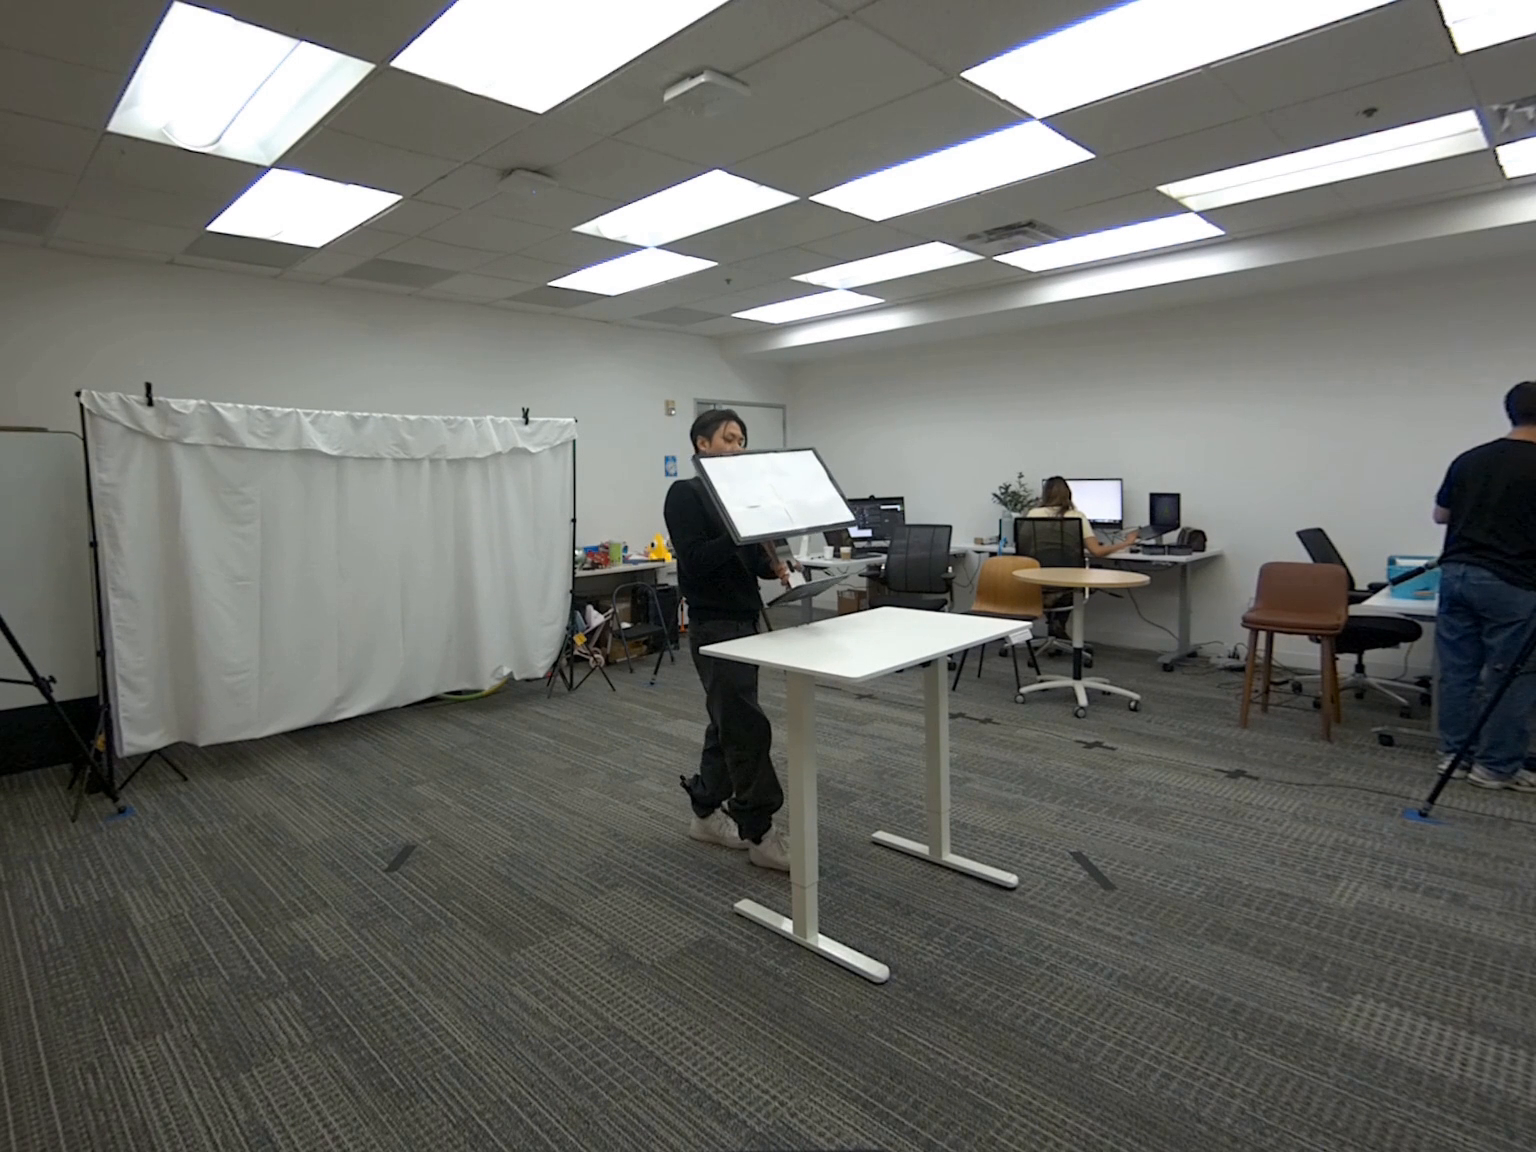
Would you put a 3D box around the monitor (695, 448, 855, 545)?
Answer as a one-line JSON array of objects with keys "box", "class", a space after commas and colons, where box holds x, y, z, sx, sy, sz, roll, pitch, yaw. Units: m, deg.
[{"box": [0.046, -0.194, 2.968, 0.526, 0.531, 0.188, -9, -17, -39], "class": "monitor"}]
